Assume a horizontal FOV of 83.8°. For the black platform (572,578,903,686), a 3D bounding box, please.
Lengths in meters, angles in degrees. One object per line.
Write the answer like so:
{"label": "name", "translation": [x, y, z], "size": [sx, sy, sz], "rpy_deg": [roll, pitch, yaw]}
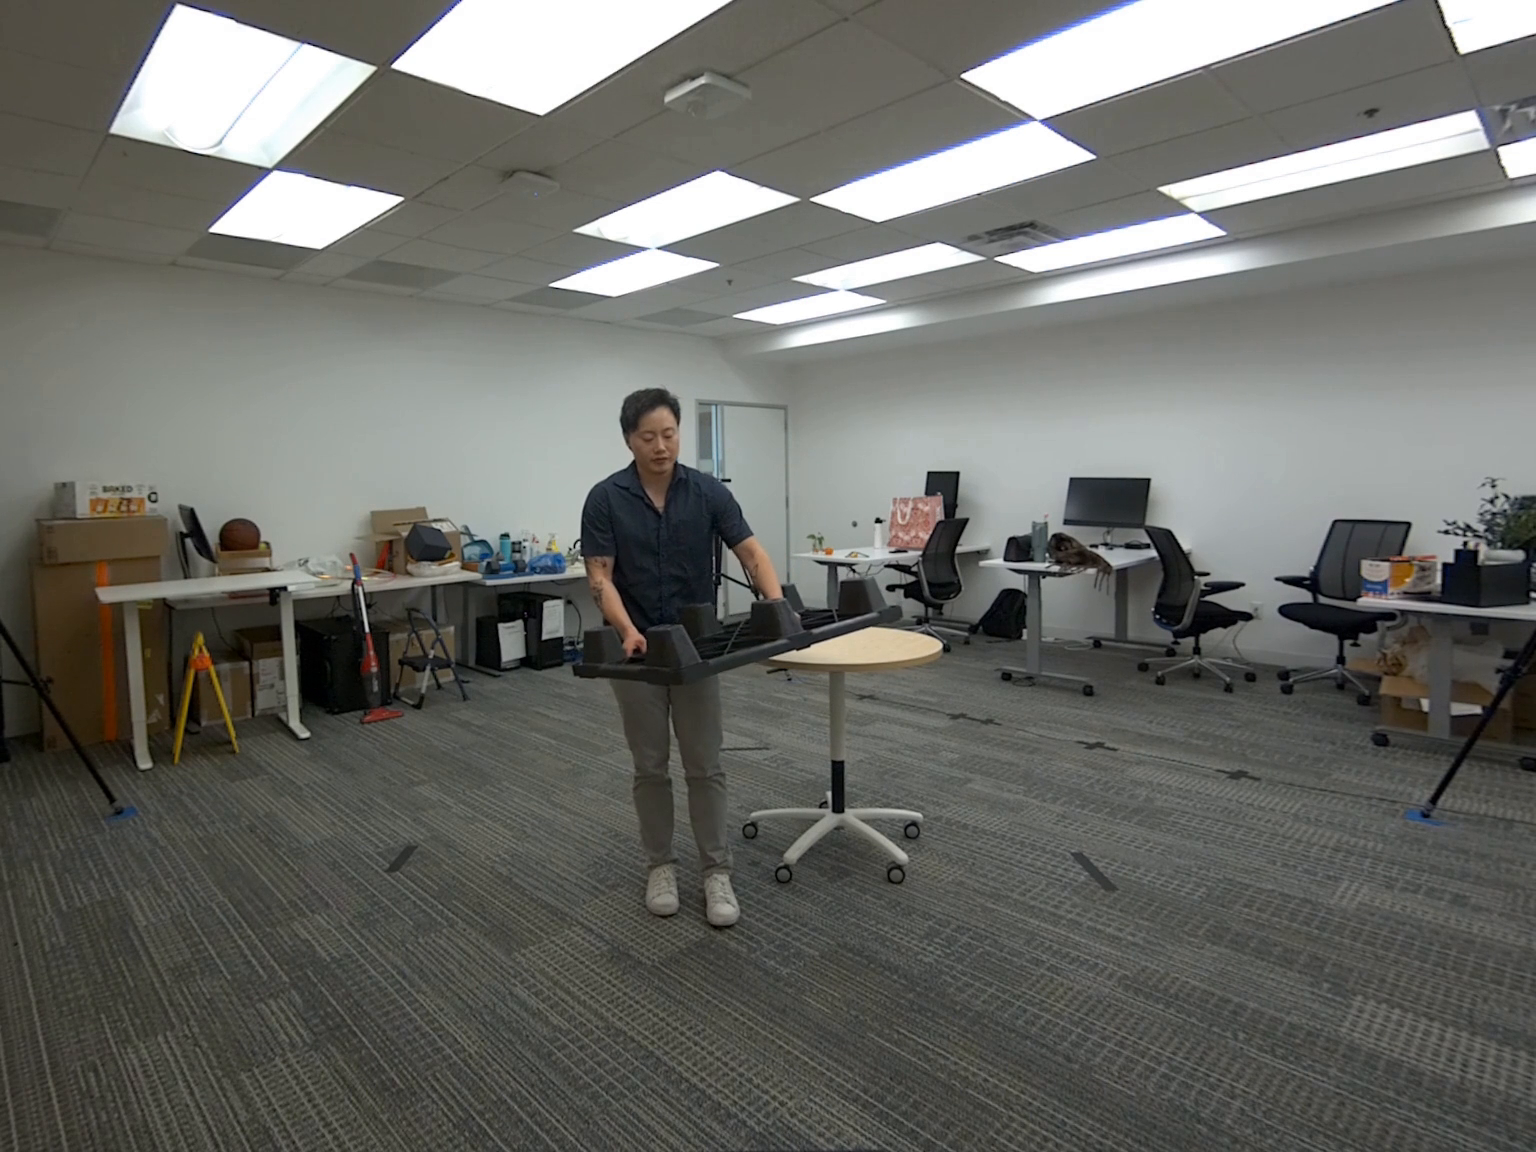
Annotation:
{"label": "black platform", "translation": [-0.094, 0.148, 2.486], "size": [0.788, 0.143, 0.619], "rpy_deg": [-13, 3, -36]}
